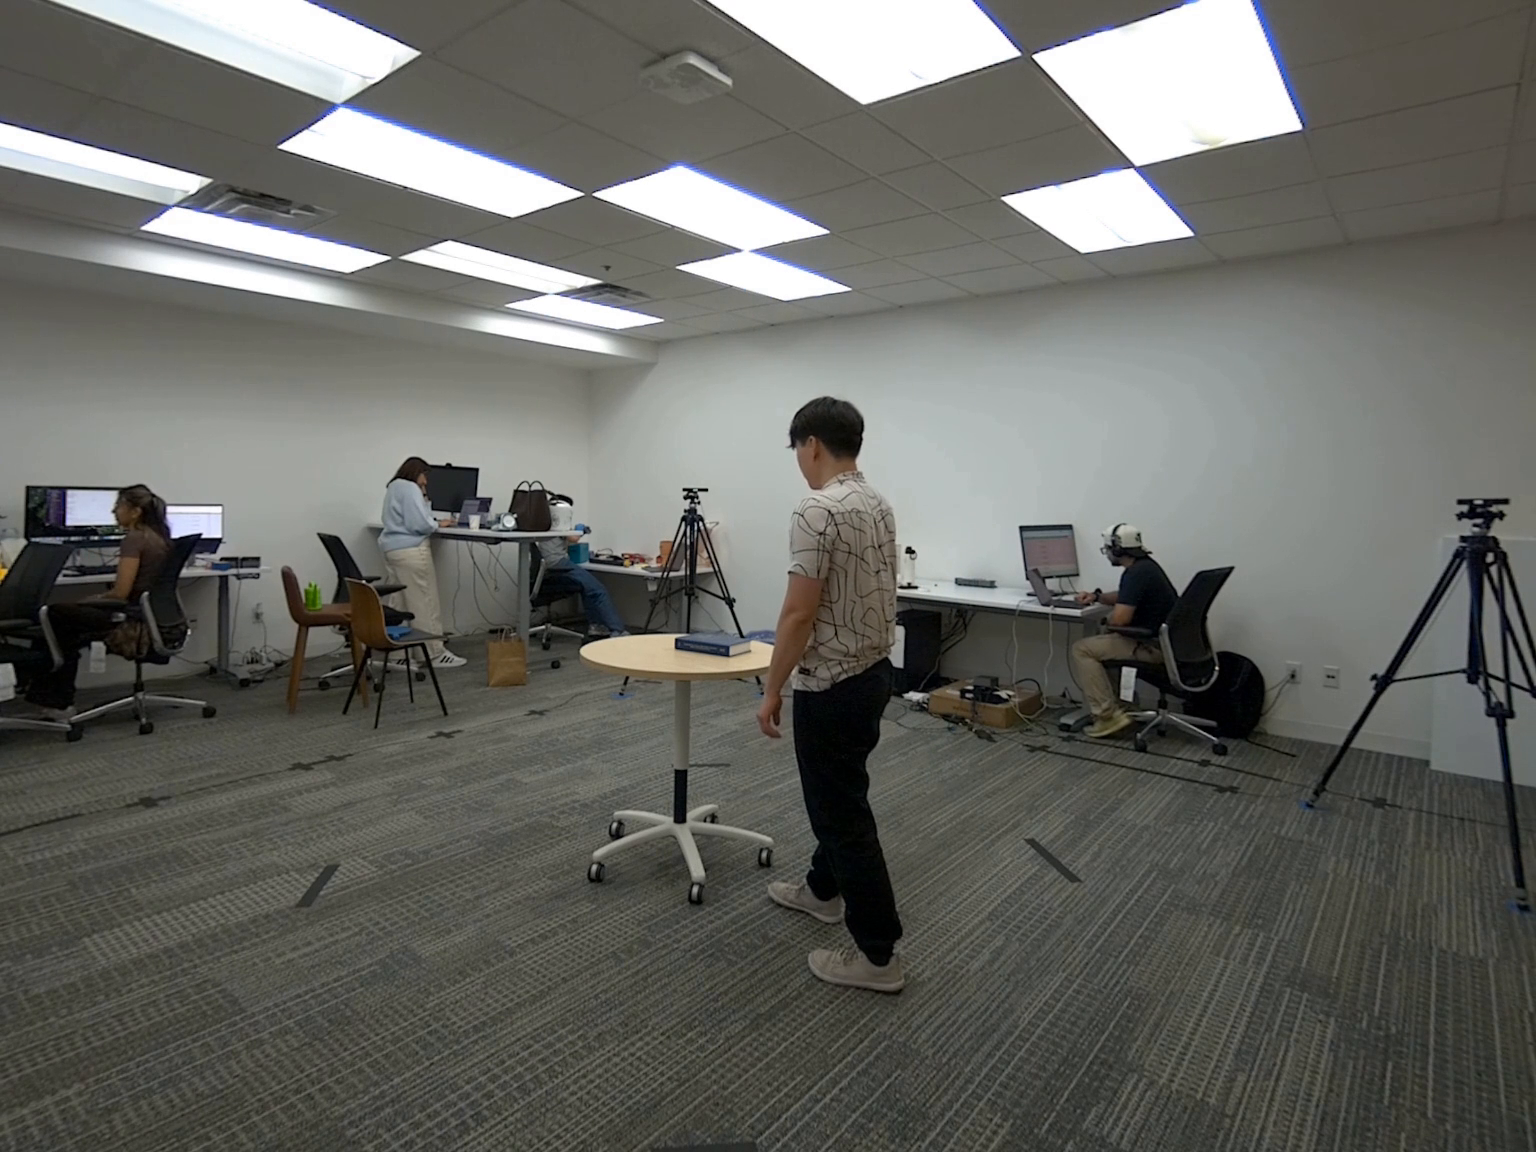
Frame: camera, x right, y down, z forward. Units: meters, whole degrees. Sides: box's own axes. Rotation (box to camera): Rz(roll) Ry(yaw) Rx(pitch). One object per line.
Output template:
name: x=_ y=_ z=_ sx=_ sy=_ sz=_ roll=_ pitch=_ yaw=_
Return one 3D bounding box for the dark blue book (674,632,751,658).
dark blue book: x=-0.209 y=0.253 z=3.206 sx=0.252 sy=0.045 sz=0.159 roll=4 pitch=6 yaw=31
